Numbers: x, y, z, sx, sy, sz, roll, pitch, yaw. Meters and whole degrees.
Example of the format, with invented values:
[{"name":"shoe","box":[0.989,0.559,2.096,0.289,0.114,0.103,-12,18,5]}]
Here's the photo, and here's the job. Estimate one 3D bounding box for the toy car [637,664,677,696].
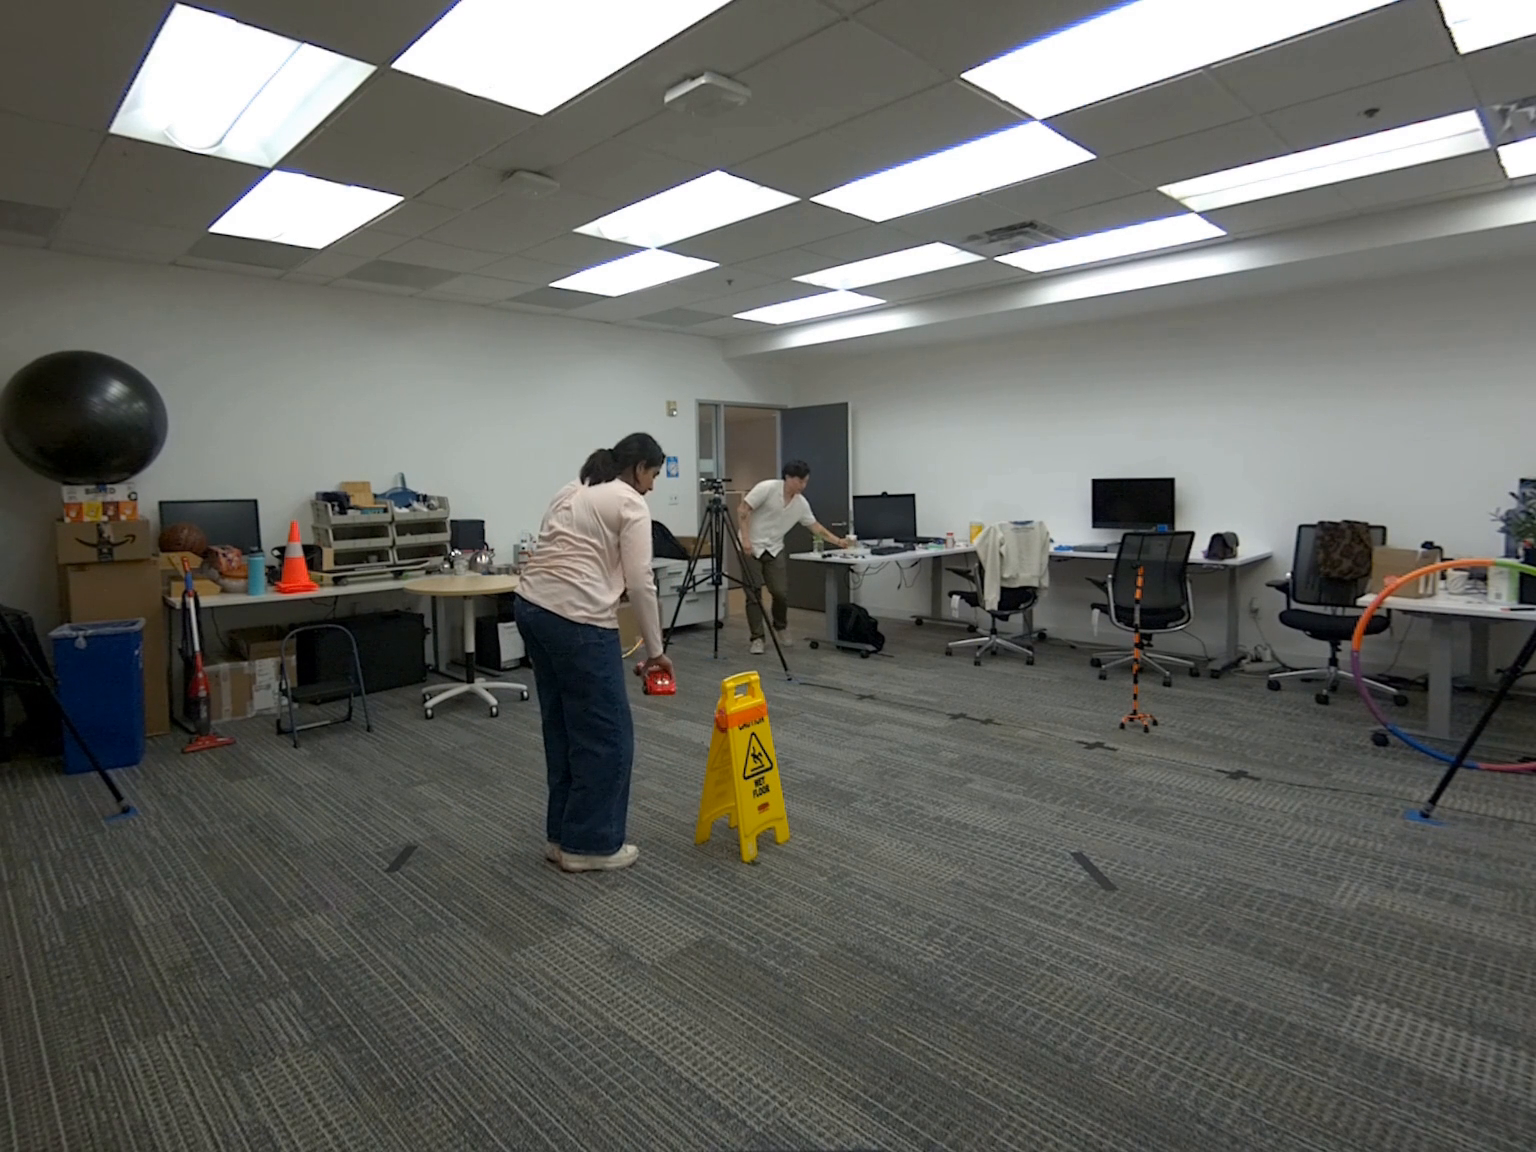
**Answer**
[{"name":"toy car","box":[-0.423,0.400,3.214,0.127,0.082,0.261,4,10,-22]}]
